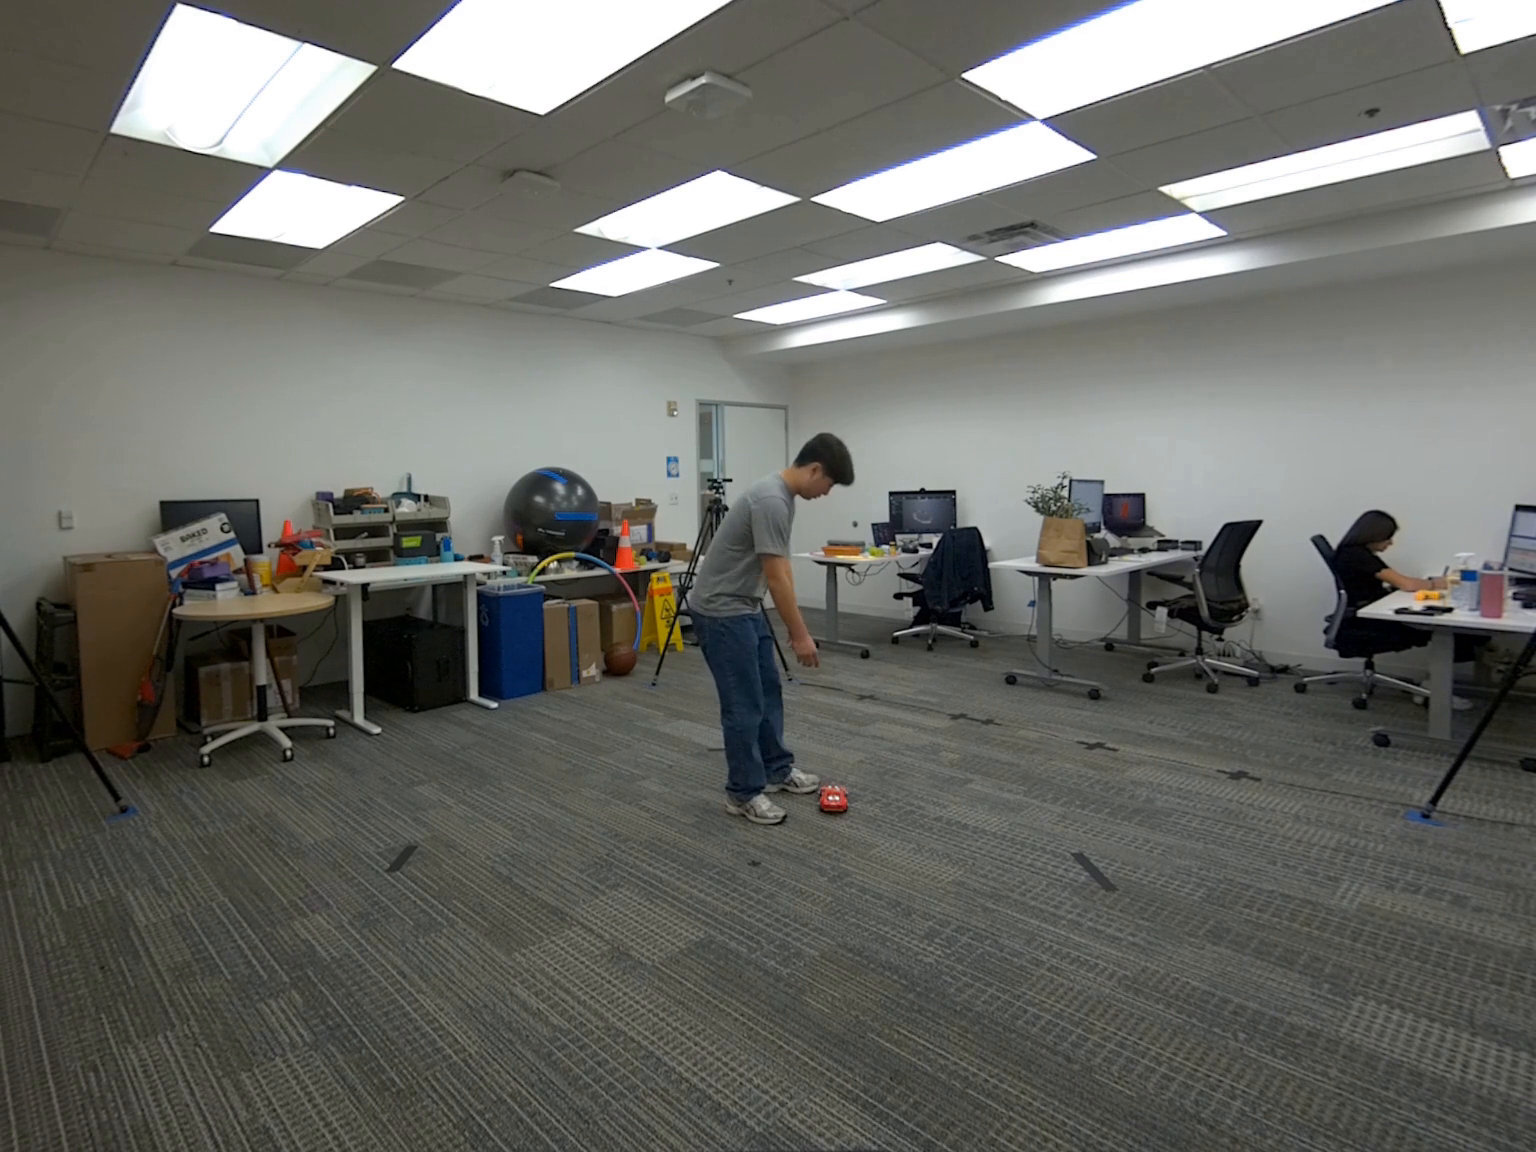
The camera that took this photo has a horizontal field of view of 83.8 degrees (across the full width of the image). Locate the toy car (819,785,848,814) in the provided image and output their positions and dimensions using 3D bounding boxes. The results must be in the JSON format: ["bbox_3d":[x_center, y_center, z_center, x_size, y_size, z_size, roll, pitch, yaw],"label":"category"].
[{"bbox_3d":[0.284,0.952,3.636,0.131,0.083,0.252,0,-4,4],"label":"toy car"}]
